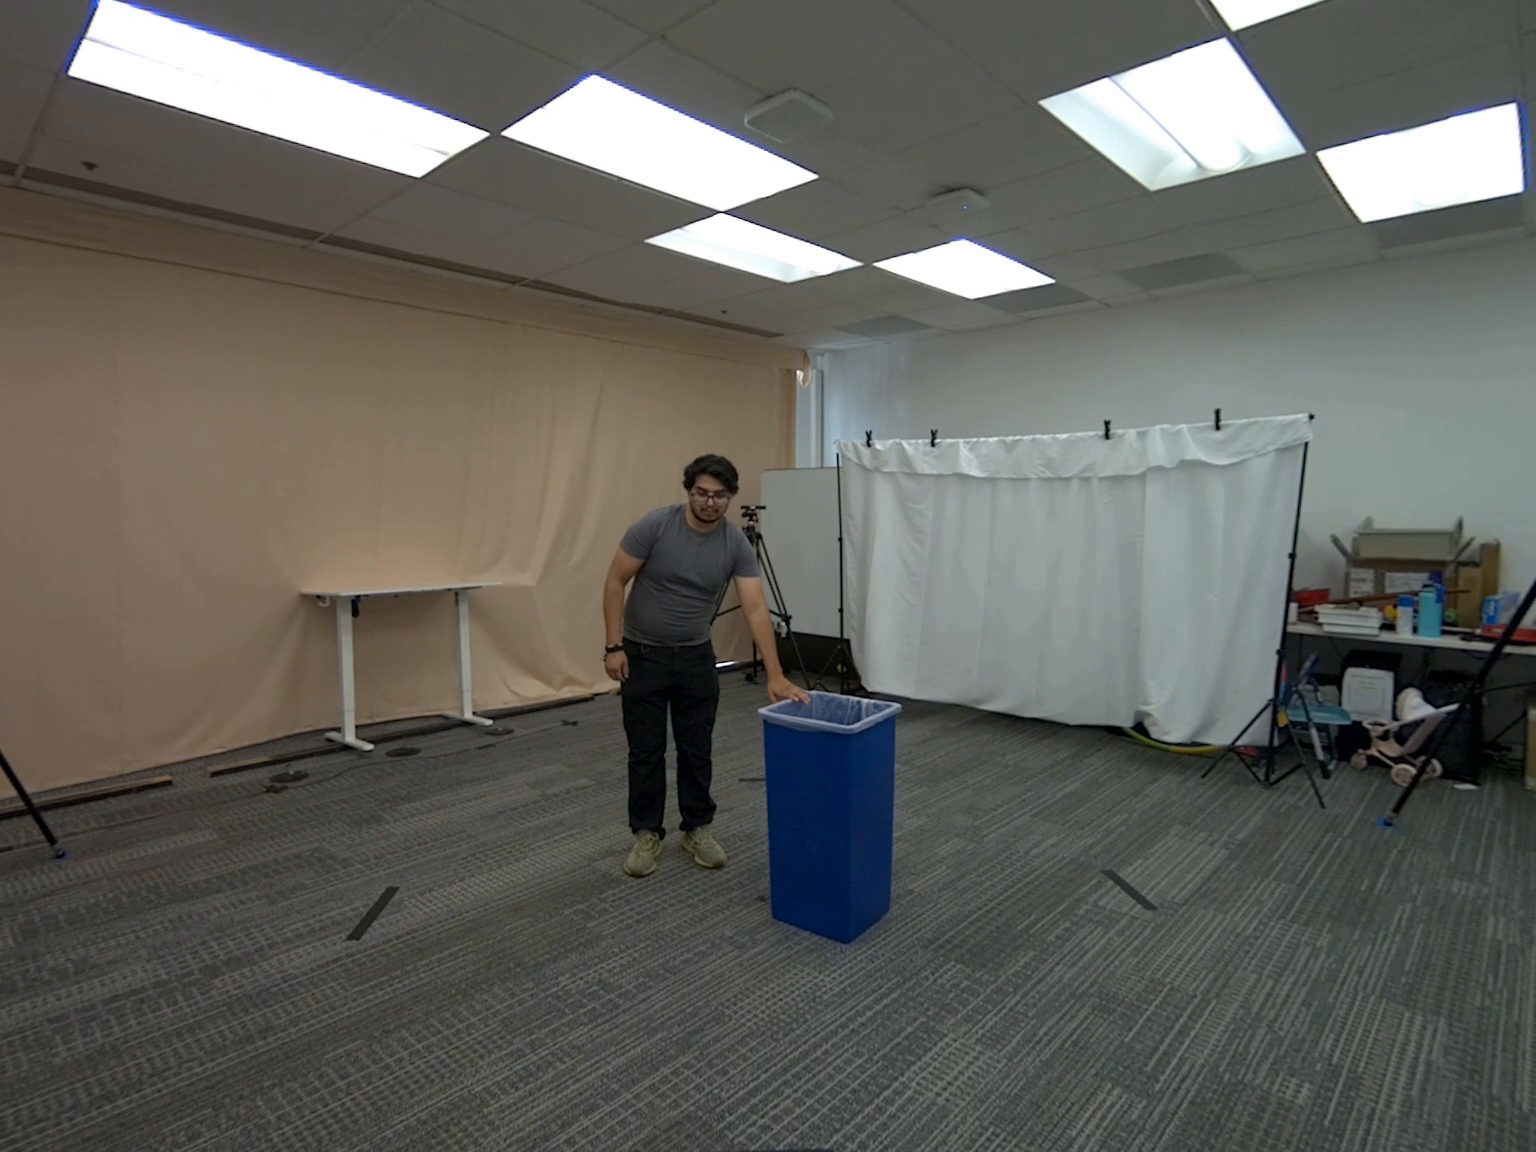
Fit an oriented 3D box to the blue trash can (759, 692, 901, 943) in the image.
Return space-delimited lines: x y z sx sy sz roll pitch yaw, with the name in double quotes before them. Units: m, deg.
"blue trash can" 0.215 0.796 2.846 0.390 0.712 0.363 2 4 37
